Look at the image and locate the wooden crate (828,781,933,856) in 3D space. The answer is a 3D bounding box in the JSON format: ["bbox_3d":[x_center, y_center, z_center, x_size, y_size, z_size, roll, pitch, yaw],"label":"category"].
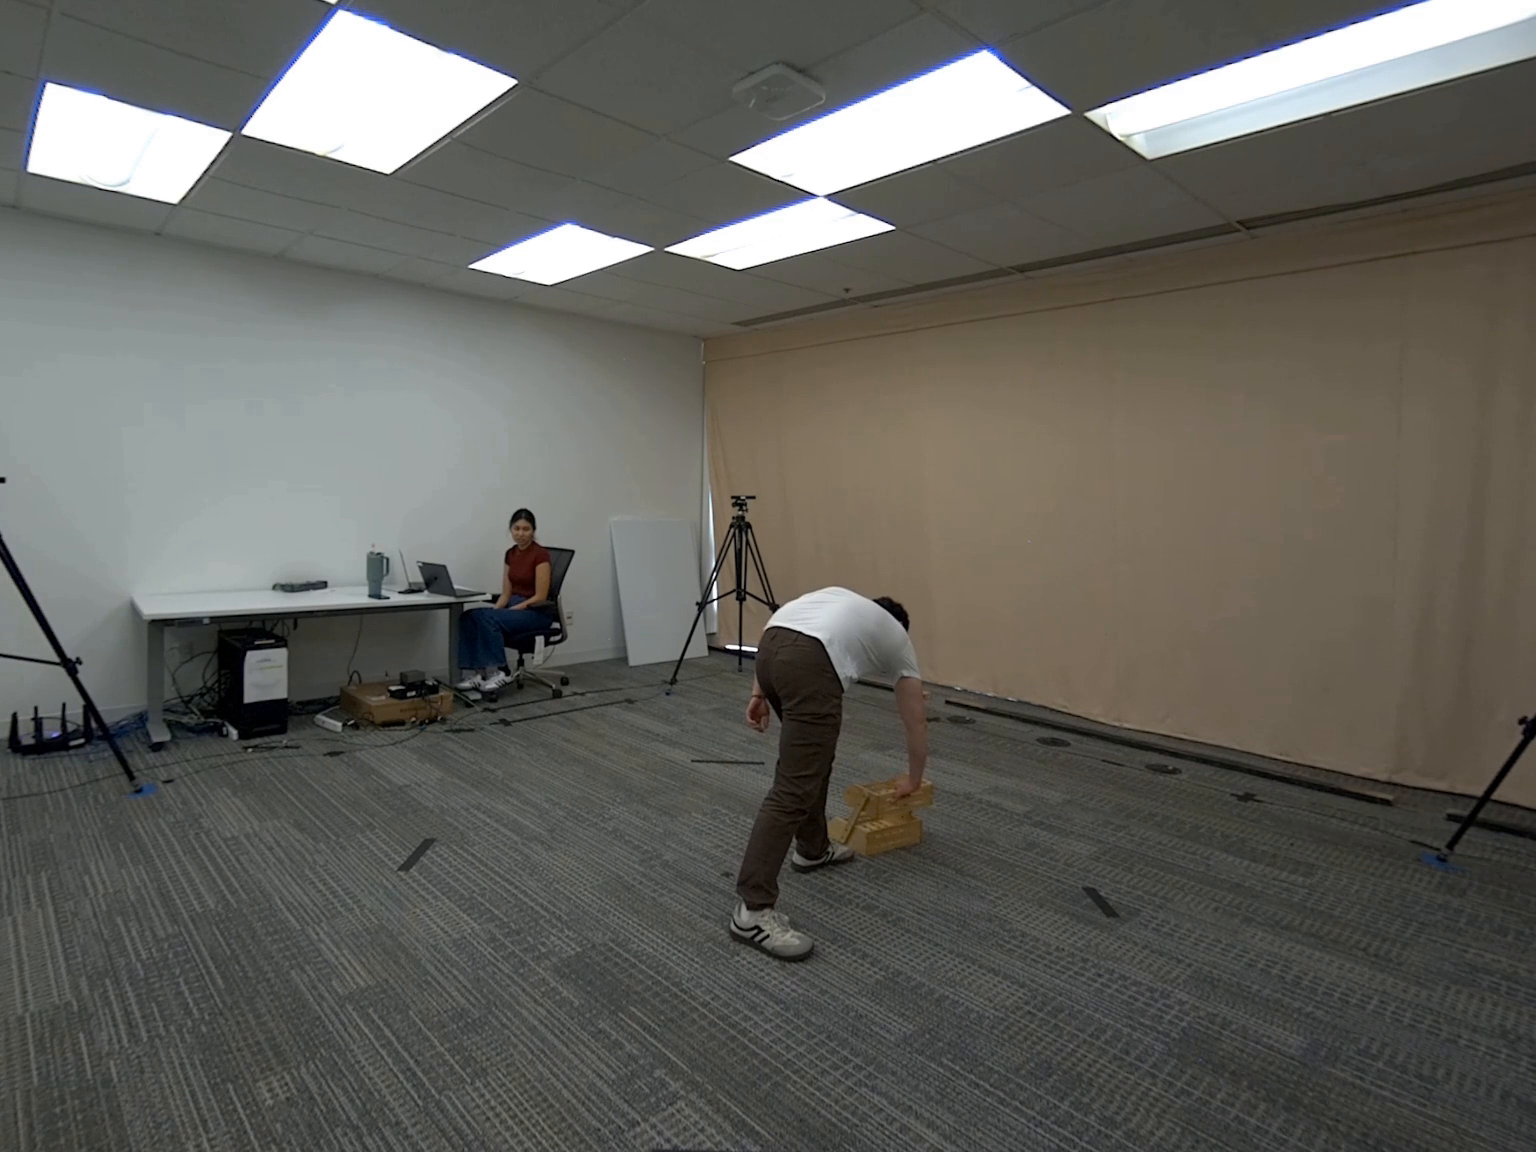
[{"bbox_3d":[0.445,0.949,3.451,0.317,0.272,0.309,-2,6,-34],"label":"wooden crate"}]
